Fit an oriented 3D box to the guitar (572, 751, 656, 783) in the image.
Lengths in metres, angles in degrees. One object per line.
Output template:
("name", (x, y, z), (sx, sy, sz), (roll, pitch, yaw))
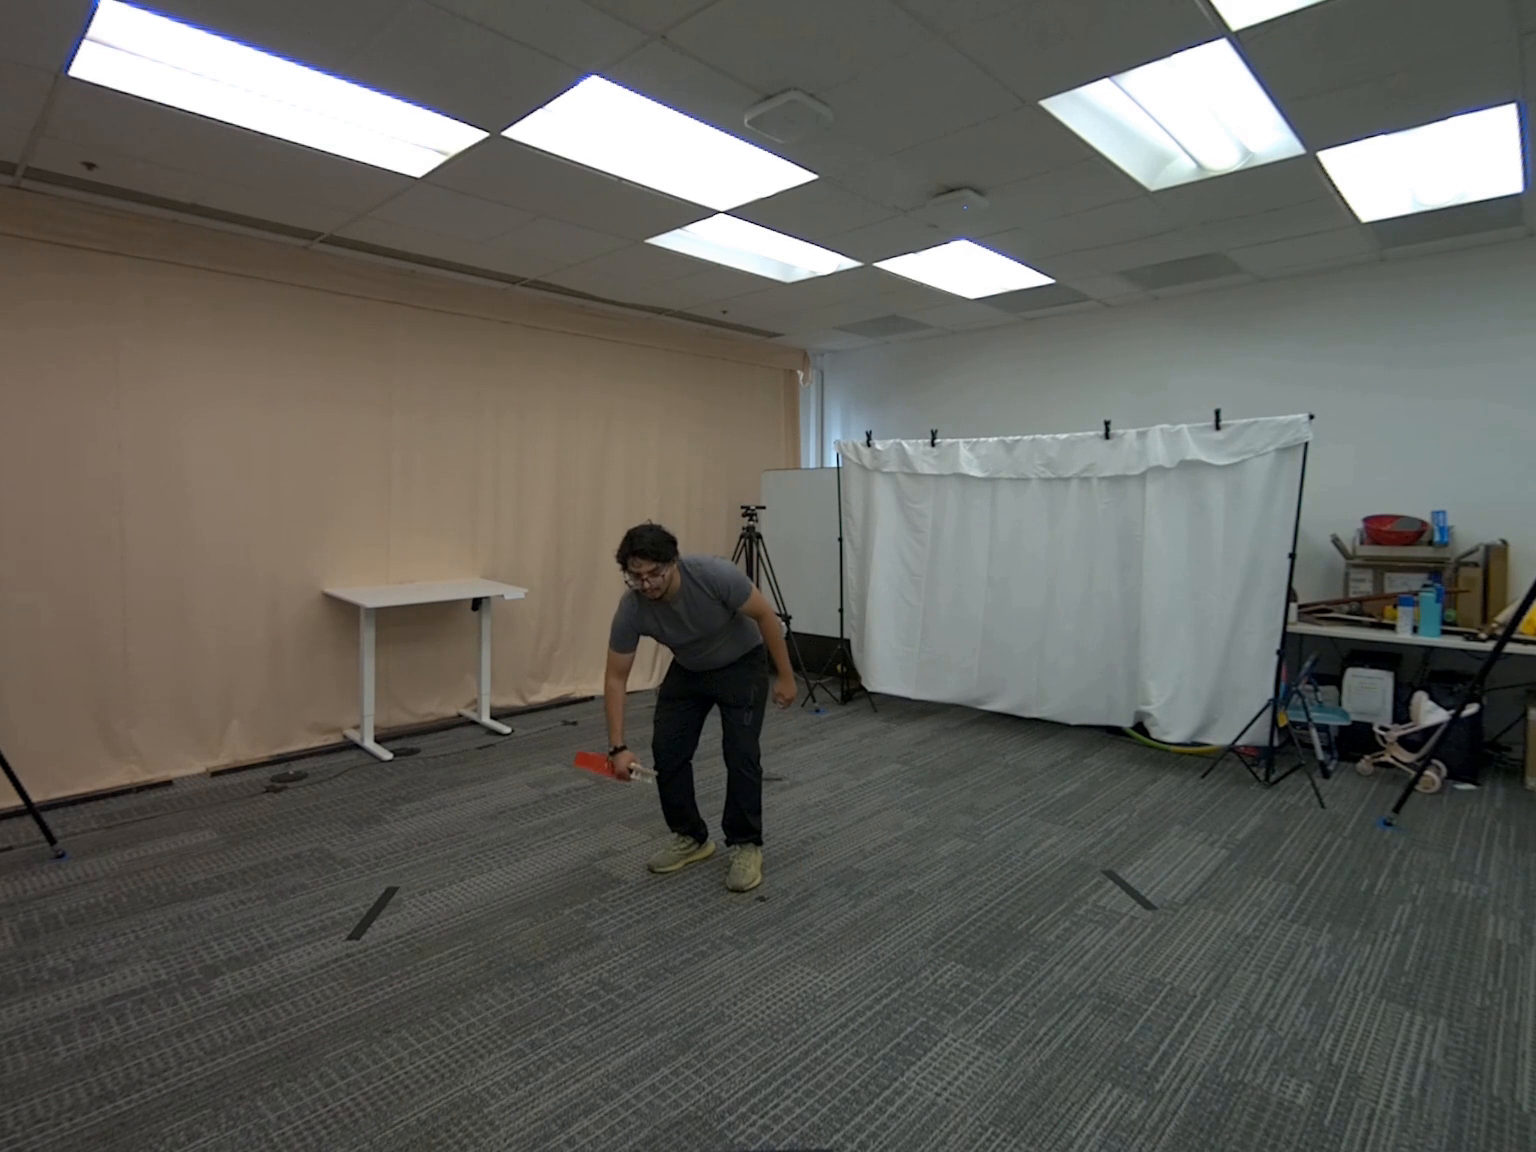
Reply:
("guitar", (-0.568, 0.713, 3.106), (0.188, 0.071, 0.507), (20, -15, -21))
